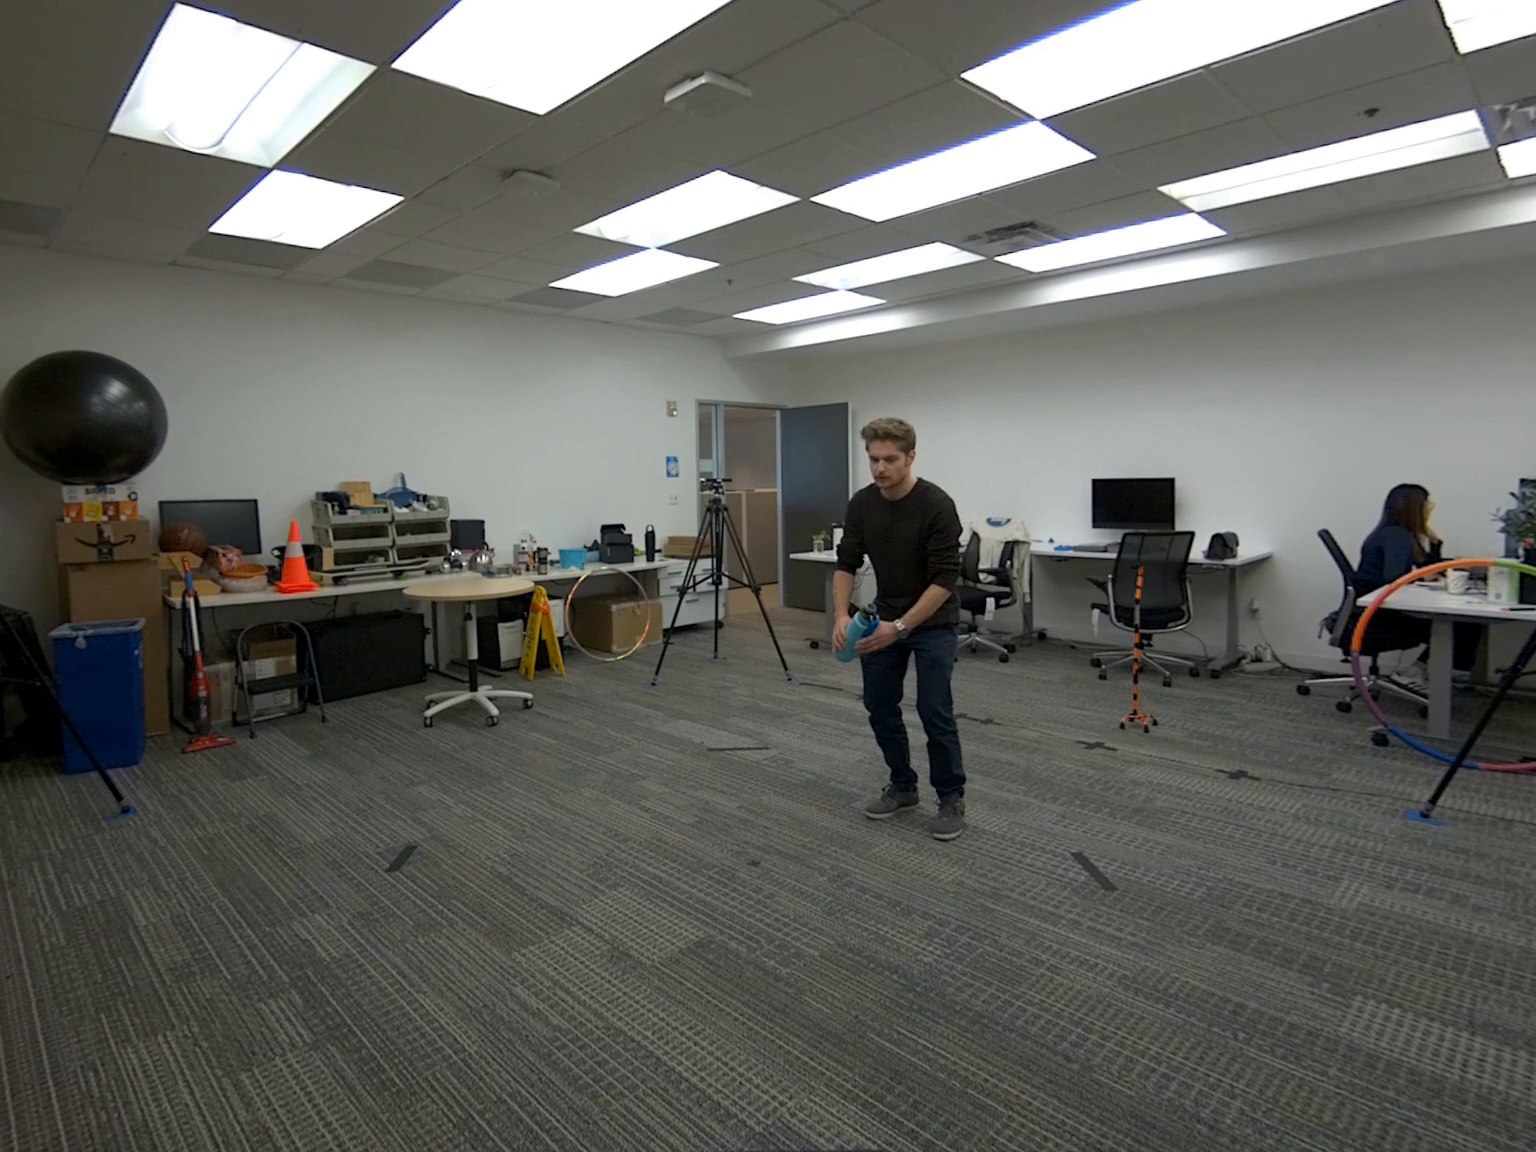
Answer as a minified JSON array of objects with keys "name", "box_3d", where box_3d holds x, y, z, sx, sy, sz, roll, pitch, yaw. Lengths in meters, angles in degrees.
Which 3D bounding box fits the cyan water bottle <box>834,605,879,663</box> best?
[{"name":"cyan water bottle","box_3d":[0.332,0.225,3.256,0.090,0.095,0.280,-3,-37,-27]}]
